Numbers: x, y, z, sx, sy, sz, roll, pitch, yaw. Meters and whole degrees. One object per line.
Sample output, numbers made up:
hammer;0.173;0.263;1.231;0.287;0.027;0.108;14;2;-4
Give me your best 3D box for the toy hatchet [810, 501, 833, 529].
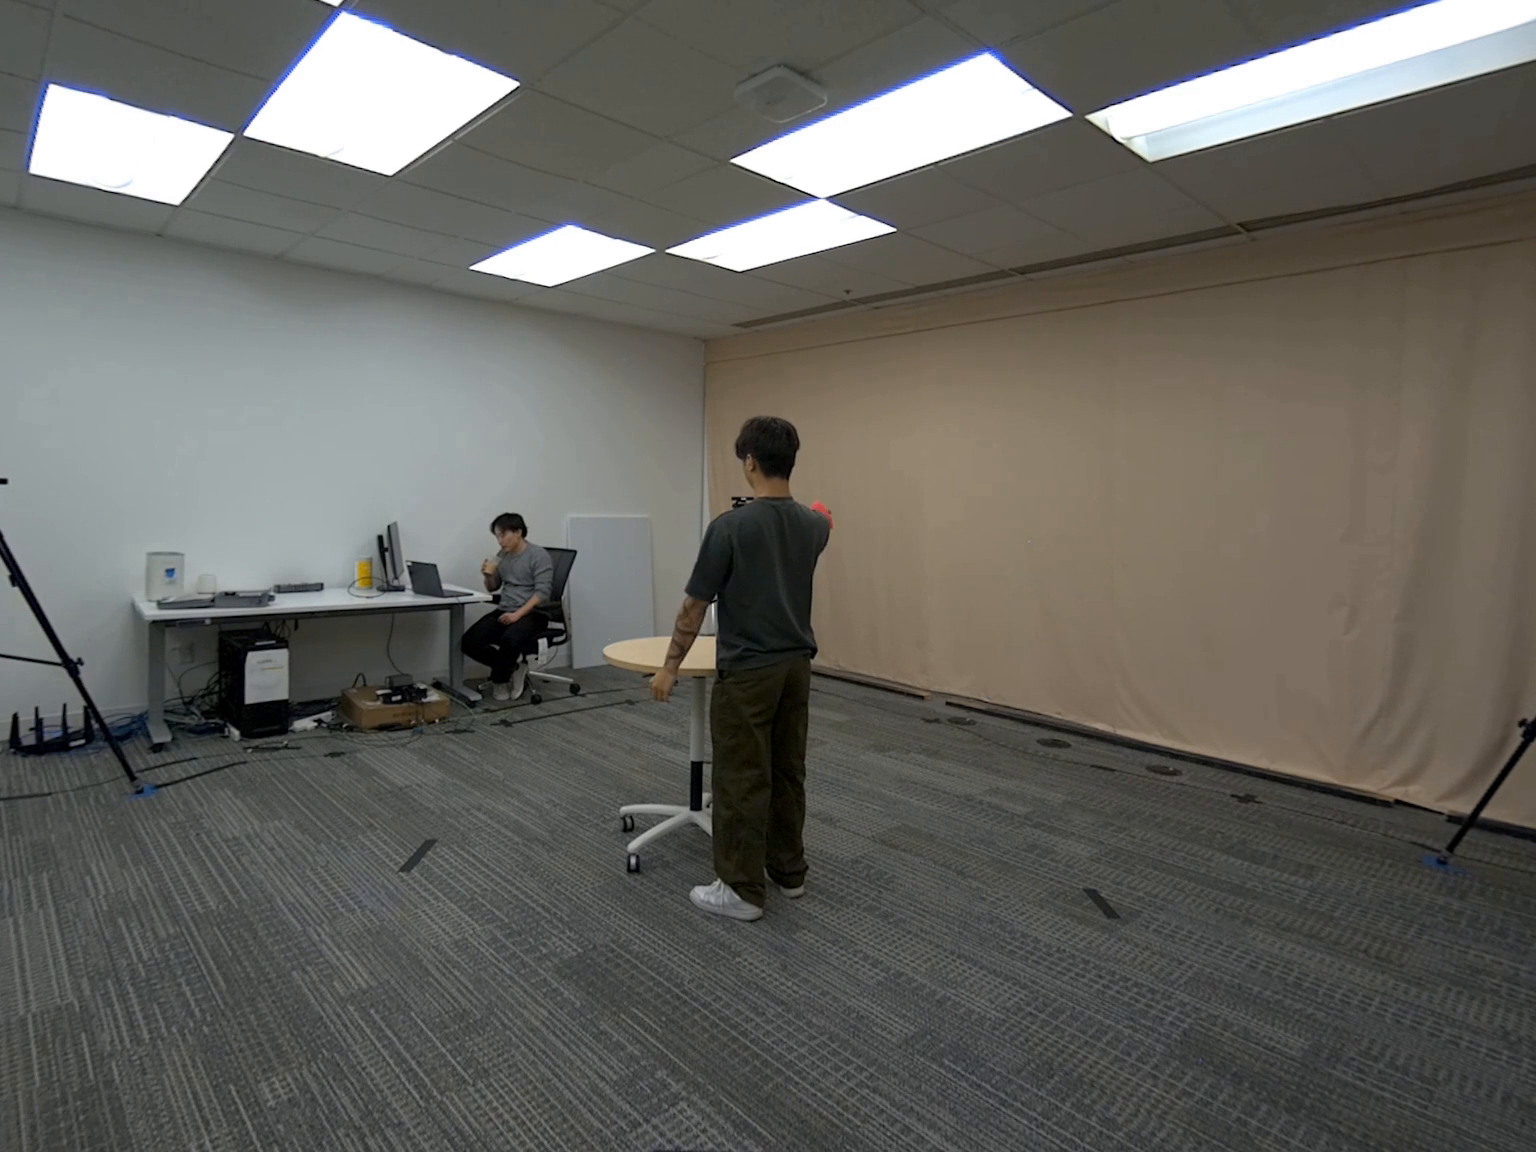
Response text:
toy hatchet;0.128;-0.239;3.517;0.267;0.131;0.030;-11;-3;-19
